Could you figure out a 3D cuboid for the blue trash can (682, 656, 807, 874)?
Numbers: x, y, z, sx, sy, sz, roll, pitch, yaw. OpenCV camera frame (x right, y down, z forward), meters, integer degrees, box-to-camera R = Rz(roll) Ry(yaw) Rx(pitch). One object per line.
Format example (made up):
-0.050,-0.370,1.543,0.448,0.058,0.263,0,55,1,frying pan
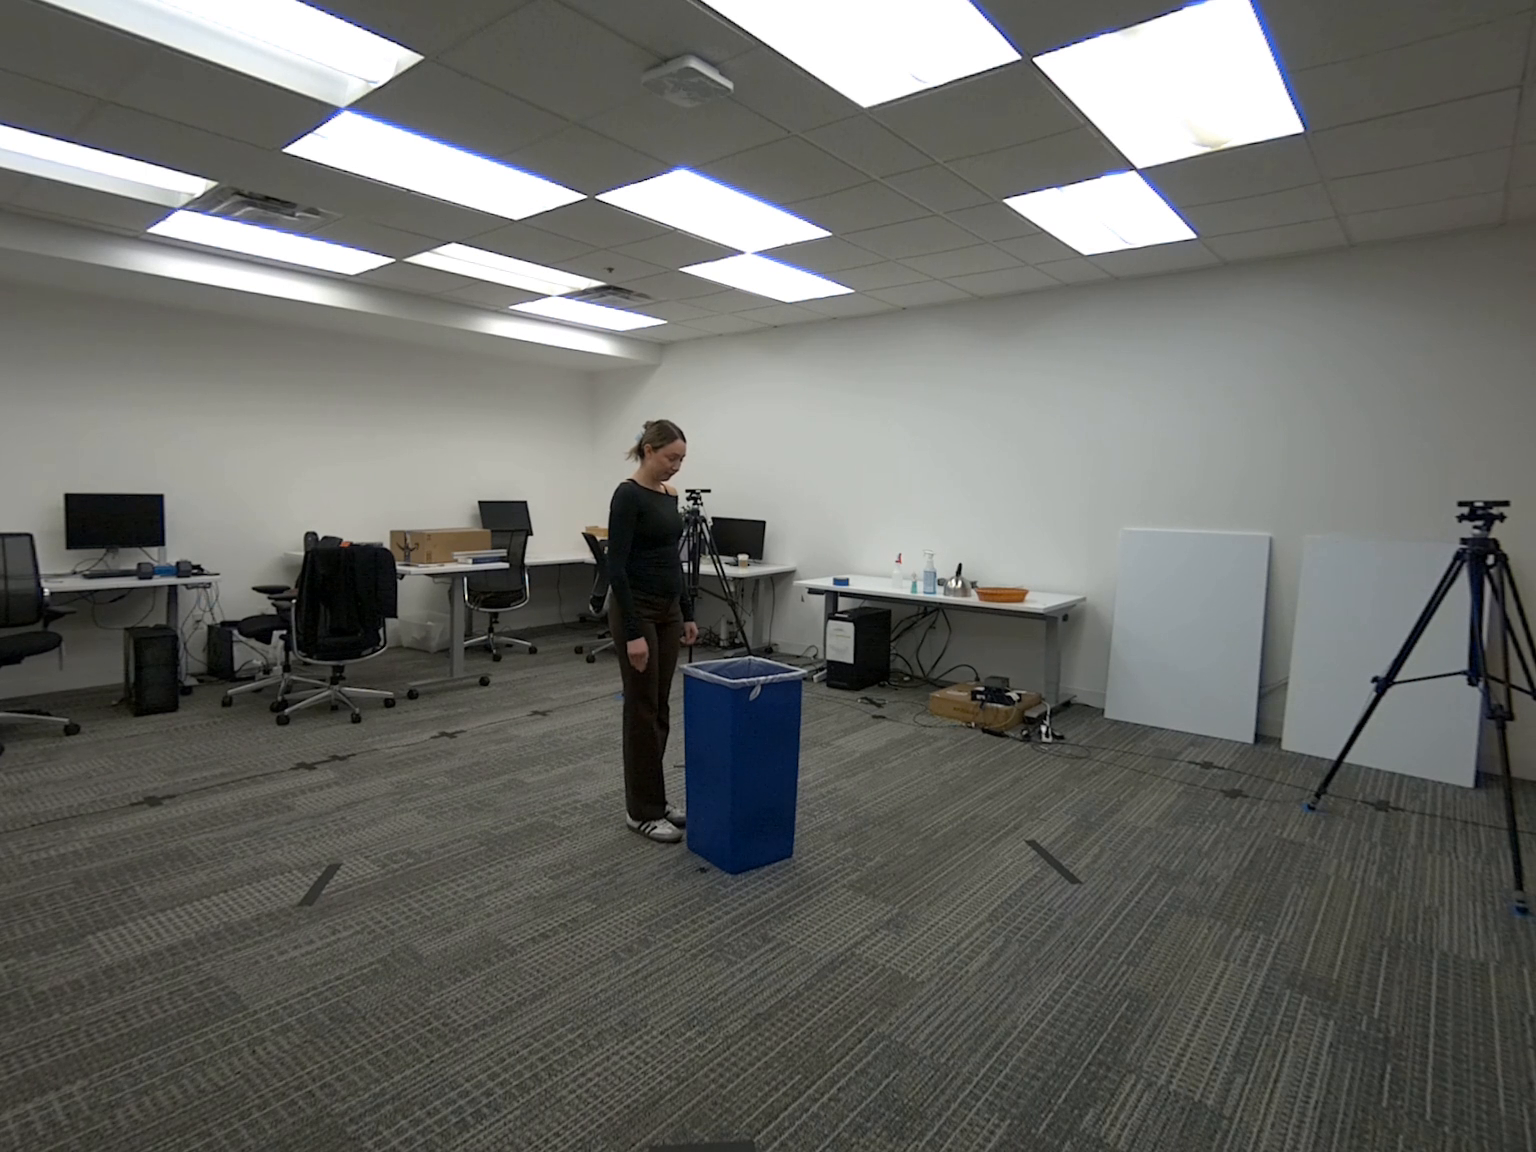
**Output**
-0.118,0.704,3.264,0.367,0.712,0.386,-1,4,-39,blue trash can
